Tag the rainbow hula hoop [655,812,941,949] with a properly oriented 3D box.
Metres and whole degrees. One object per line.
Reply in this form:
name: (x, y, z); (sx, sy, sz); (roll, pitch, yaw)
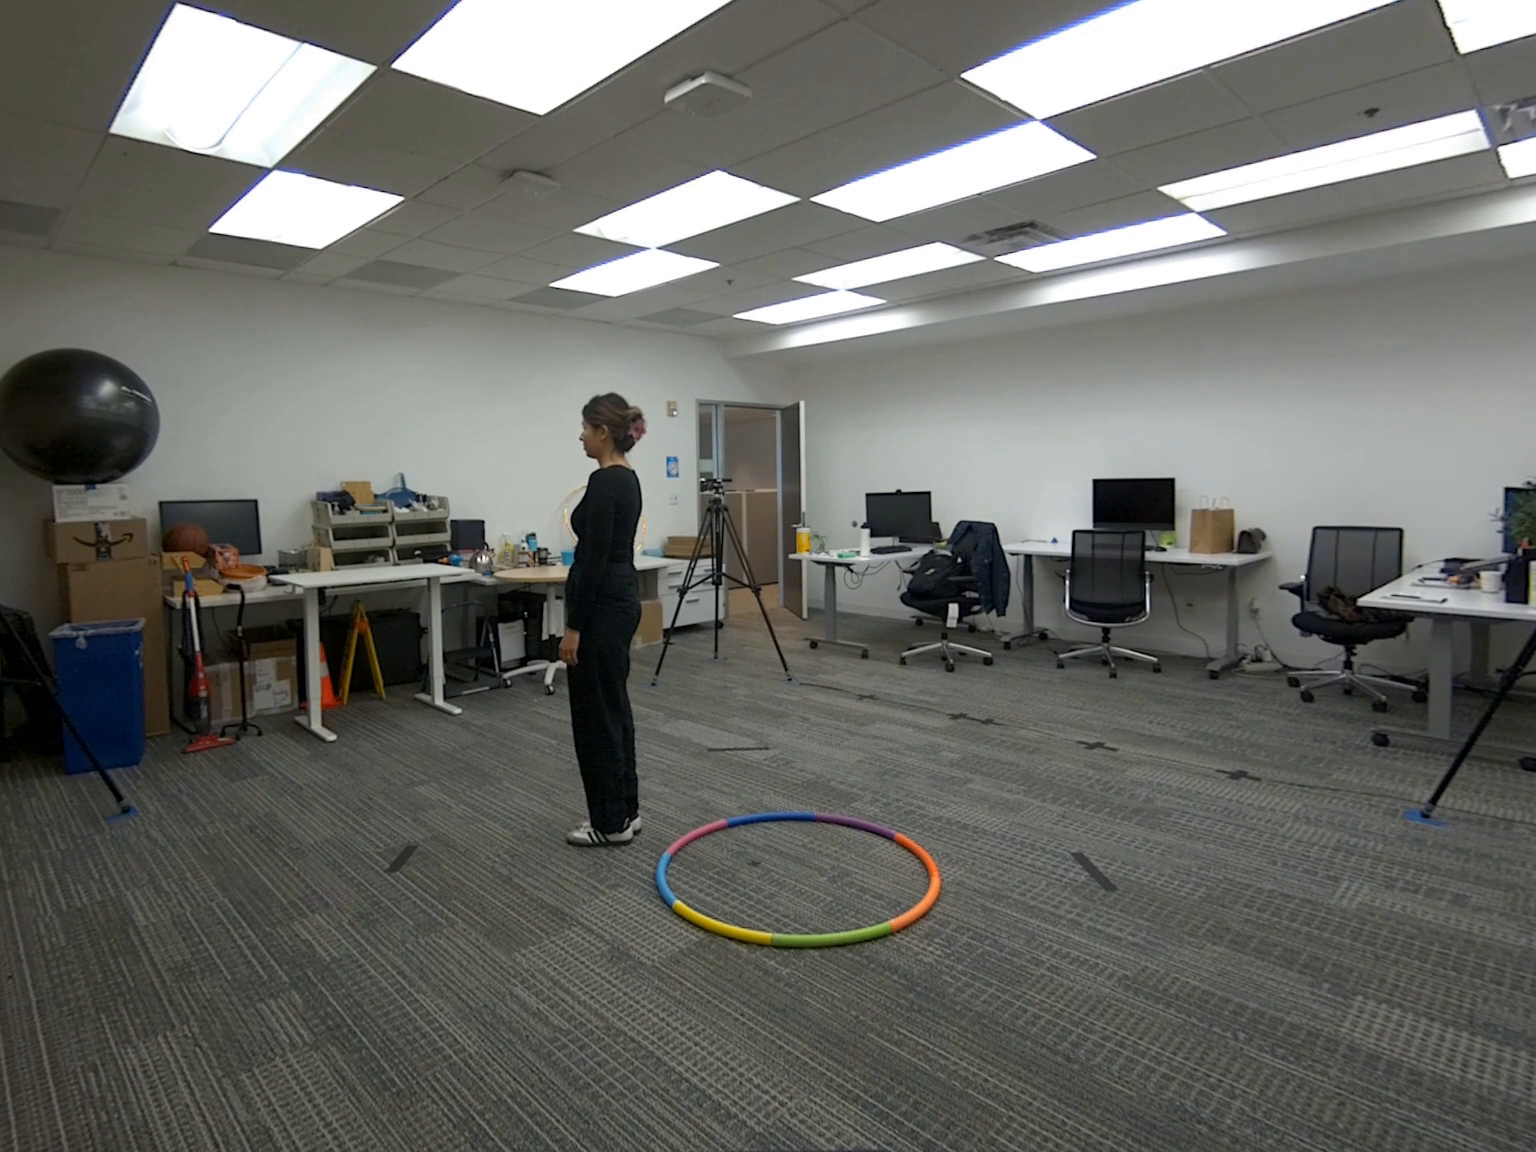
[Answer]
rainbow hula hoop: (0.099, 1.020, 3.023); (0.978, 0.035, 0.984); (-1, 6, -2)
